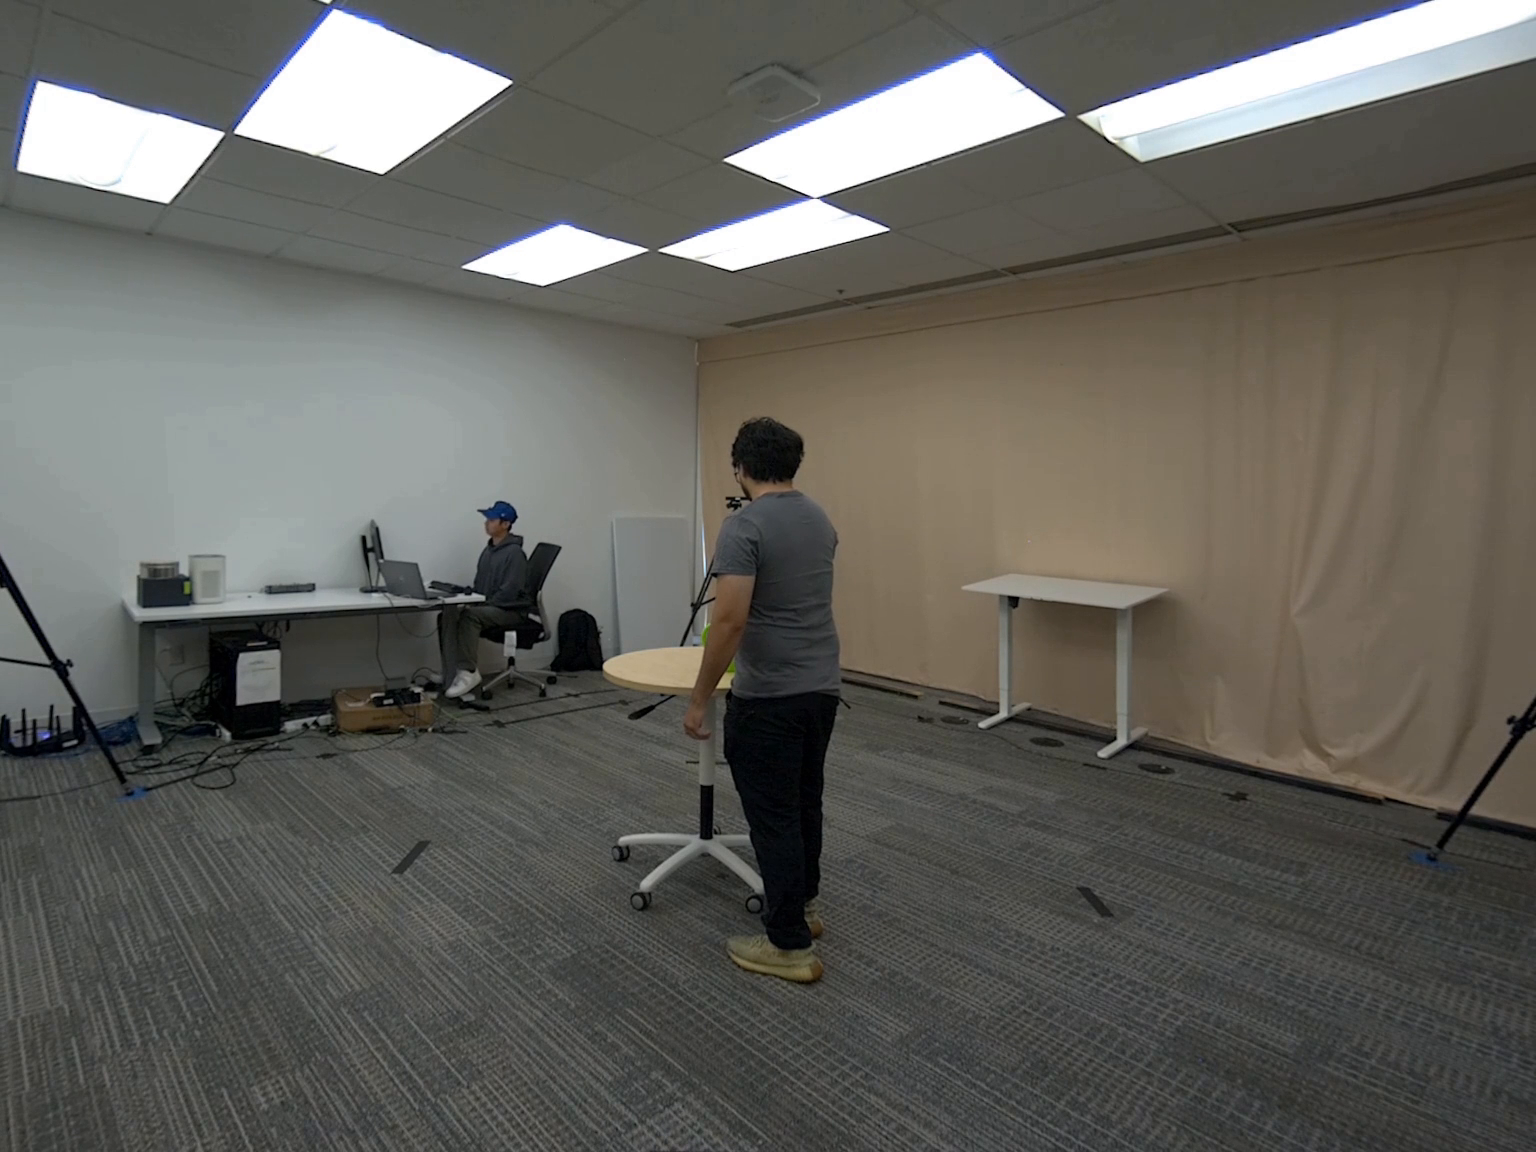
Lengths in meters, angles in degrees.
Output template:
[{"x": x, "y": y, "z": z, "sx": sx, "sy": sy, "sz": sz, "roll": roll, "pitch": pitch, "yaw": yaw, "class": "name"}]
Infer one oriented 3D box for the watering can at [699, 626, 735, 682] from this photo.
[{"x": -0.096, "y": 0.250, "z": 2.982, "sx": 0.278, "sy": 0.176, "sz": 0.098, "roll": -3, "pitch": 2, "yaw": 2, "class": "watering can"}]
